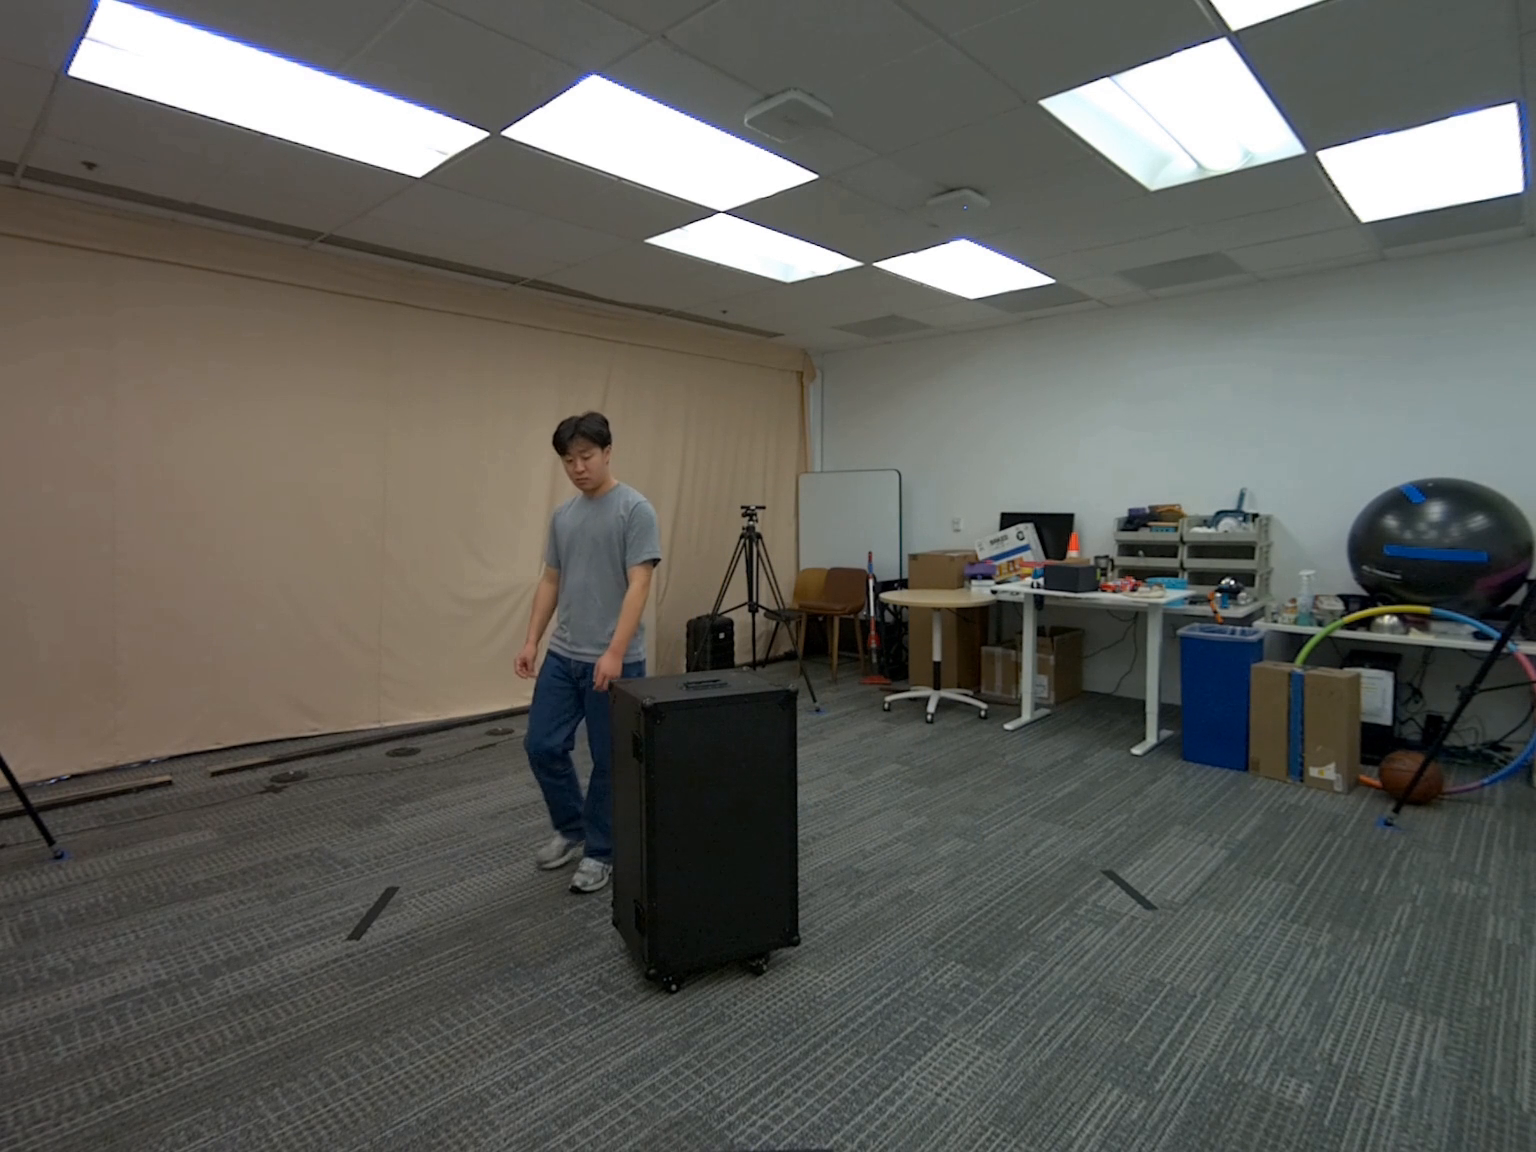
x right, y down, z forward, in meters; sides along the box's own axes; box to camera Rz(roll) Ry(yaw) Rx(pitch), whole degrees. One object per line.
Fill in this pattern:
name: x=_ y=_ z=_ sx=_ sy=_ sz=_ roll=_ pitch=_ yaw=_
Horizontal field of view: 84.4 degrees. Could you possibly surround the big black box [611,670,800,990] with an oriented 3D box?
big black box: x=-0.207 y=0.751 z=2.589 sx=0.509 sy=0.860 sz=0.406 roll=-2 pitch=2 yaw=-25
